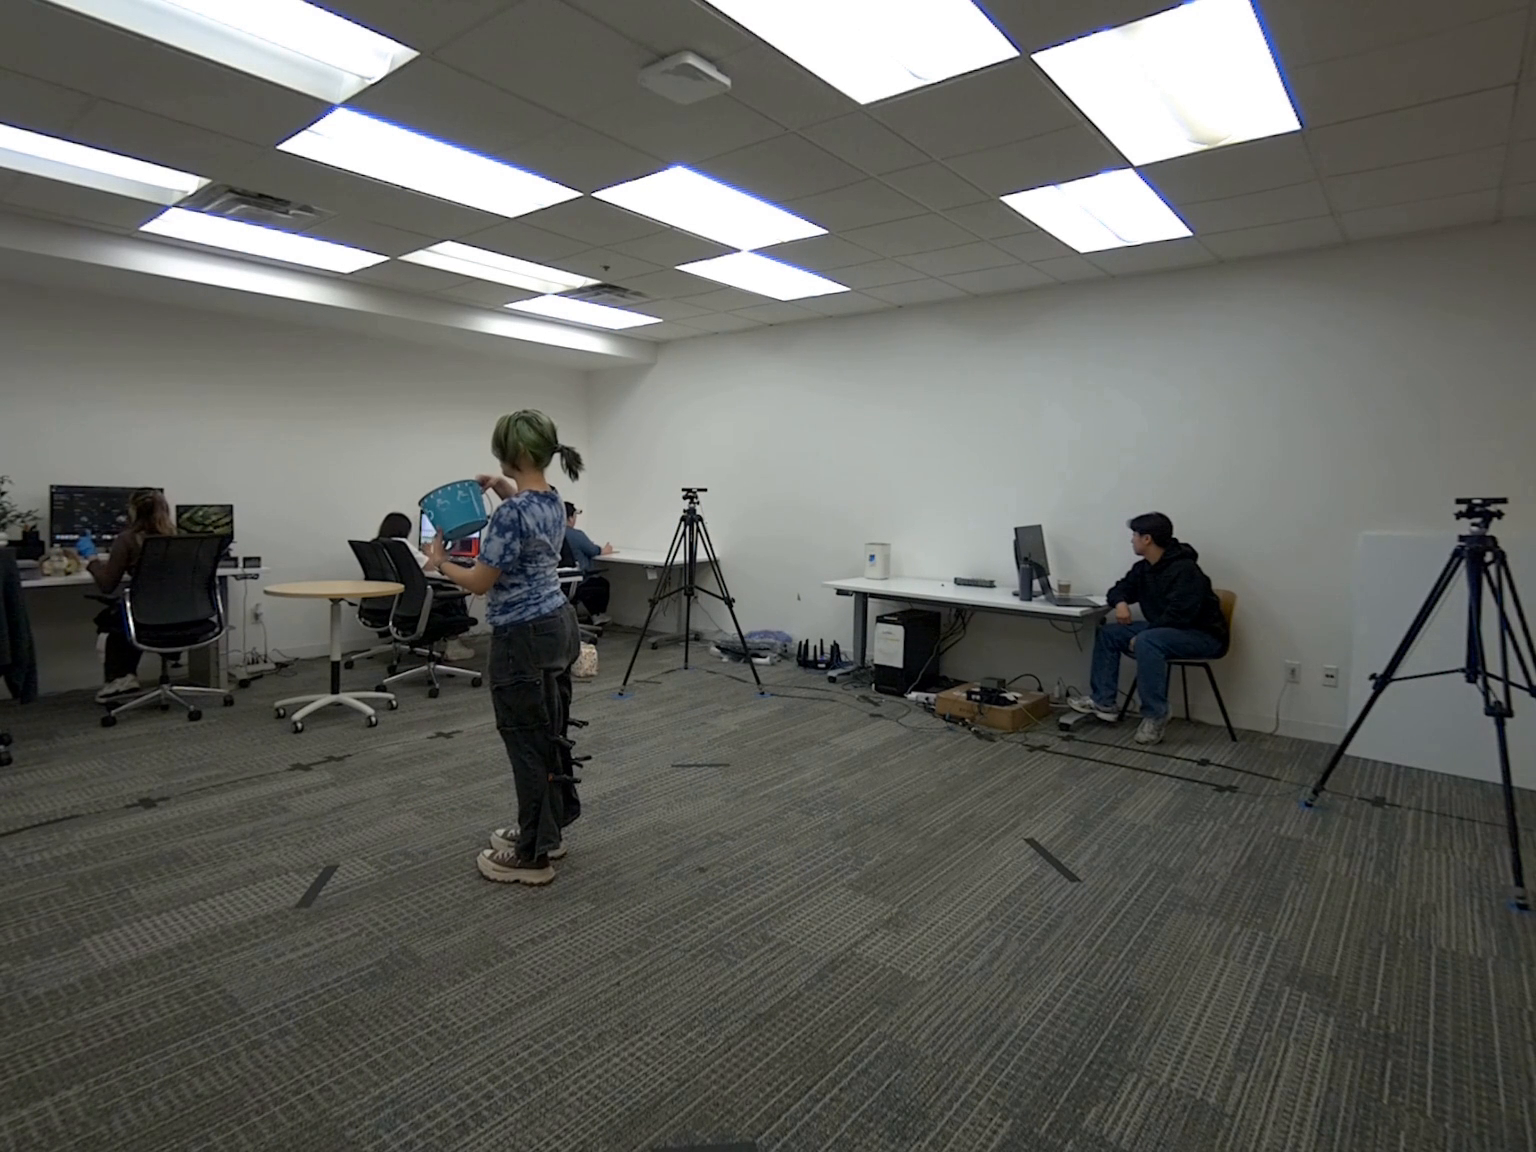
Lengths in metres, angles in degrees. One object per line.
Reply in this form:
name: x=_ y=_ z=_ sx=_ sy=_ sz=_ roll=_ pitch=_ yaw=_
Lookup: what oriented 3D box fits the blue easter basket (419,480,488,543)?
blue easter basket: x=-1.157 y=-0.231 z=3.113 sx=0.243 sy=0.158 sz=0.241 roll=-25 pitch=-8 yaw=-6
